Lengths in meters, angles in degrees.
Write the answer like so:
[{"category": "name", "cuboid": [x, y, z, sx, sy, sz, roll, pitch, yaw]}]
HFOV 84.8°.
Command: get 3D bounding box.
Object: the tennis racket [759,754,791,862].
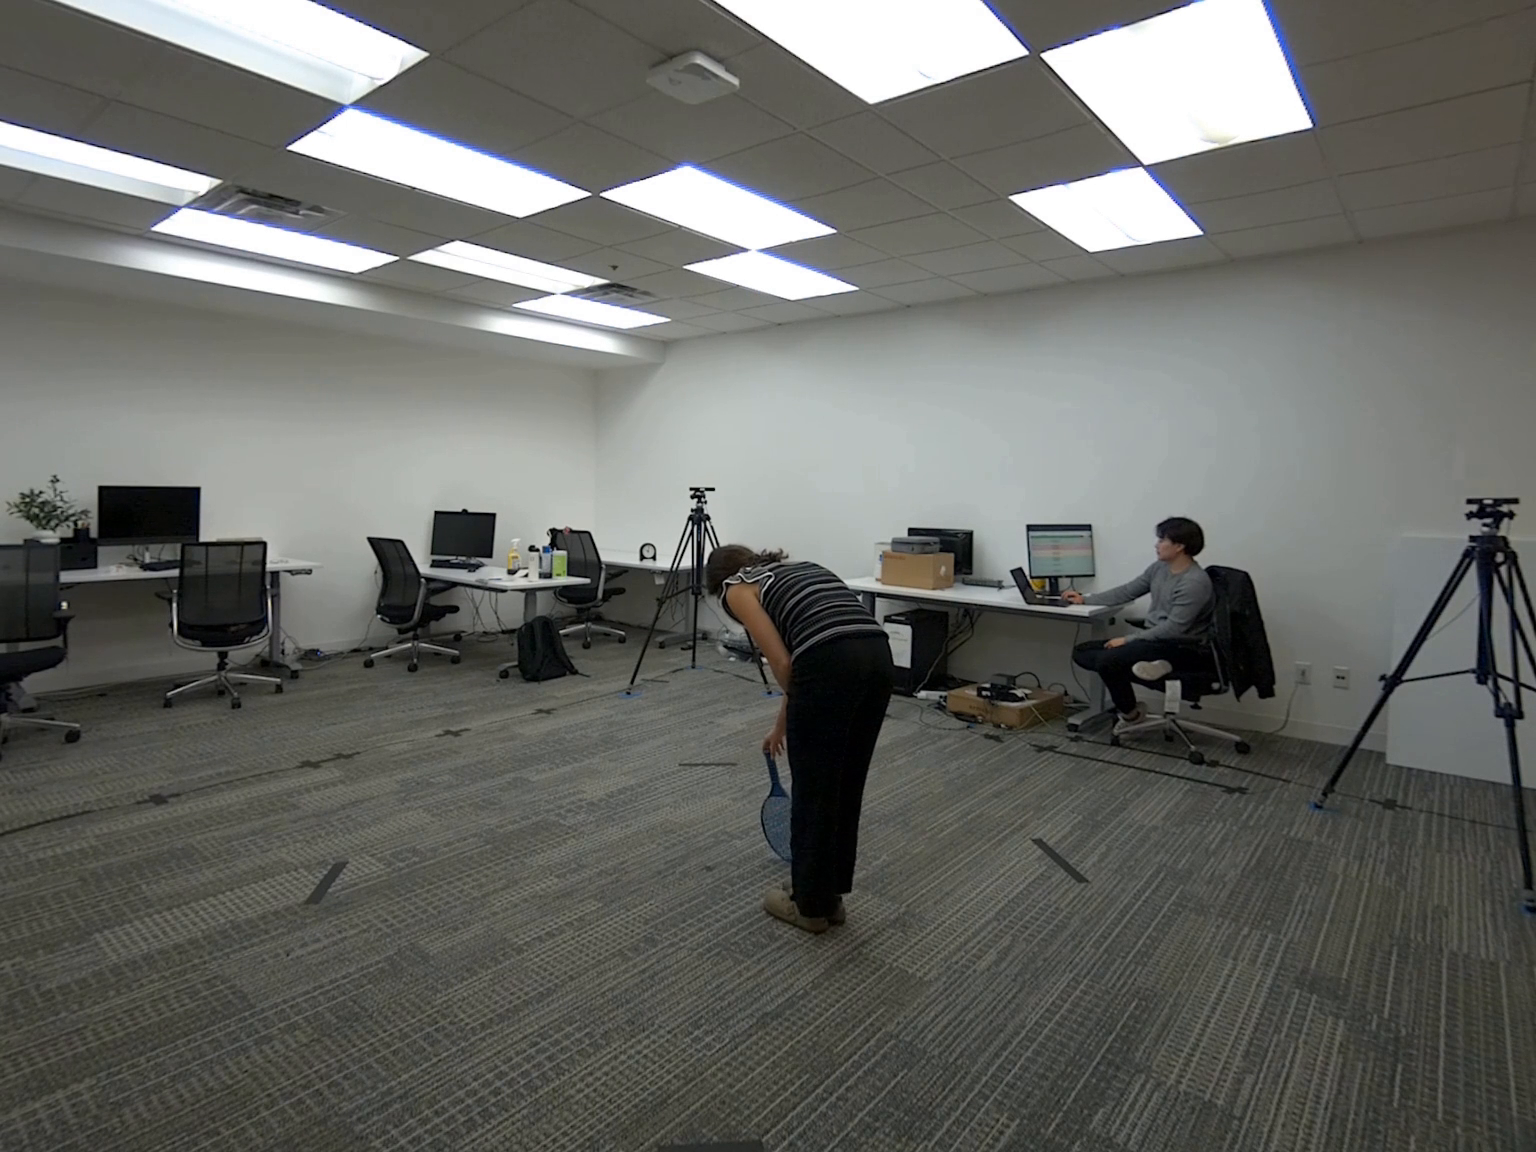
[{"category": "tennis racket", "cuboid": [0.037, 0.851, 3.161, 0.219, 0.431, 0.031, -10, 4, 37]}]
